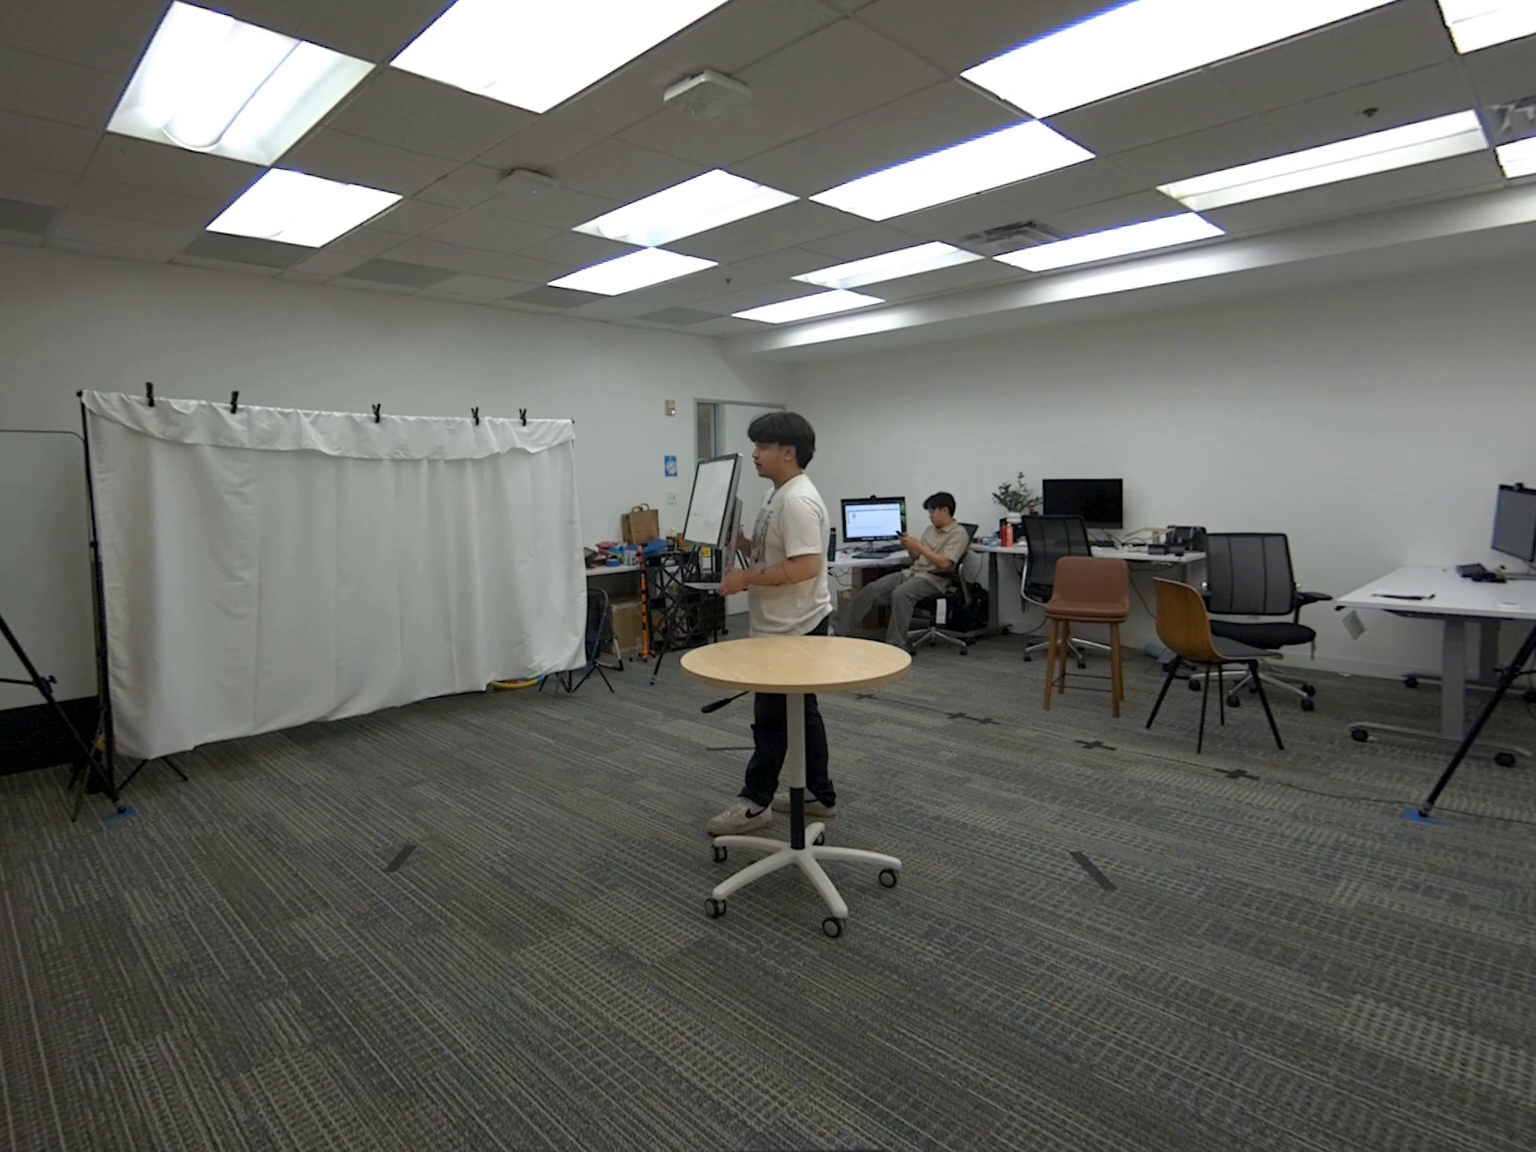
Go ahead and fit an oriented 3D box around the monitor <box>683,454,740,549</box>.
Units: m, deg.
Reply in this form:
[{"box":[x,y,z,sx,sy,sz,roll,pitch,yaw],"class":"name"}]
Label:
[{"box":[-0.174,-0.207,3.431,0.206,0.554,0.576,5,1,-20],"class":"monitor"}]
